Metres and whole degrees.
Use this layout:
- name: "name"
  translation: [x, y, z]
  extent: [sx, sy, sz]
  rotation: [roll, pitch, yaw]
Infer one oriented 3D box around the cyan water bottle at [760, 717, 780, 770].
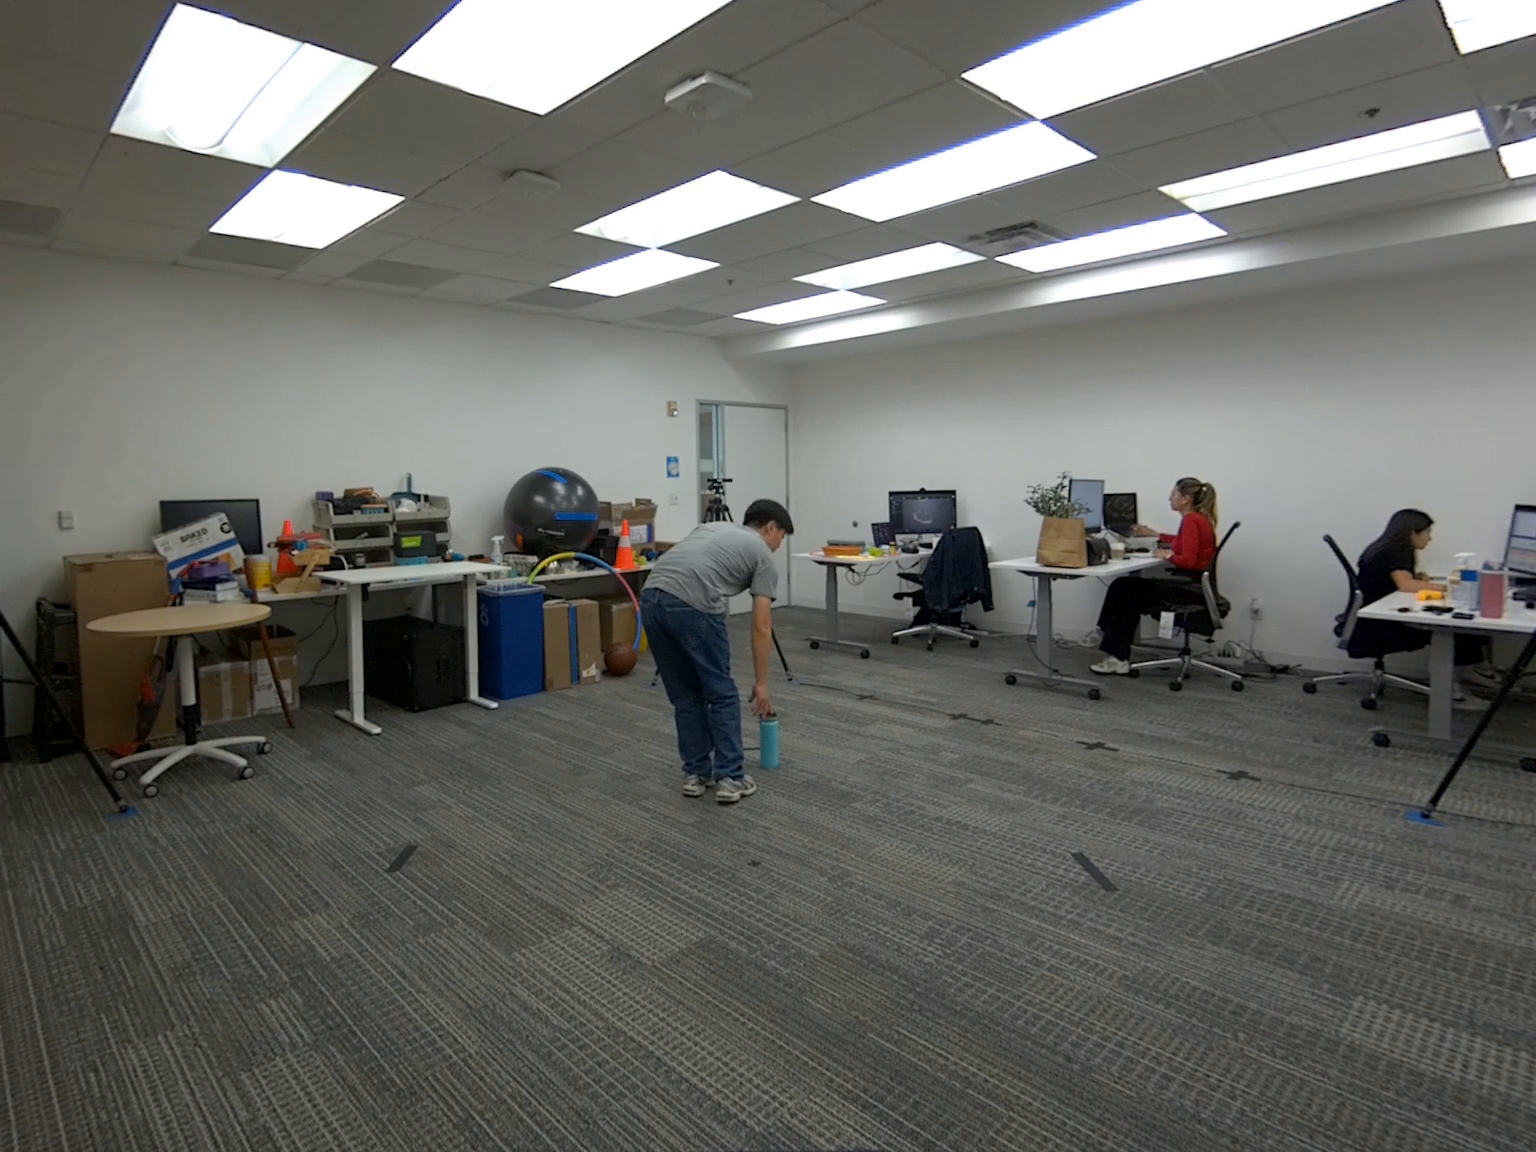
- name: "cyan water bottle"
  translation: [0.006, 0.786, 4.160]
  extent: [0.092, 0.282, 0.093]
  rotation: [-2, 4, -1]
